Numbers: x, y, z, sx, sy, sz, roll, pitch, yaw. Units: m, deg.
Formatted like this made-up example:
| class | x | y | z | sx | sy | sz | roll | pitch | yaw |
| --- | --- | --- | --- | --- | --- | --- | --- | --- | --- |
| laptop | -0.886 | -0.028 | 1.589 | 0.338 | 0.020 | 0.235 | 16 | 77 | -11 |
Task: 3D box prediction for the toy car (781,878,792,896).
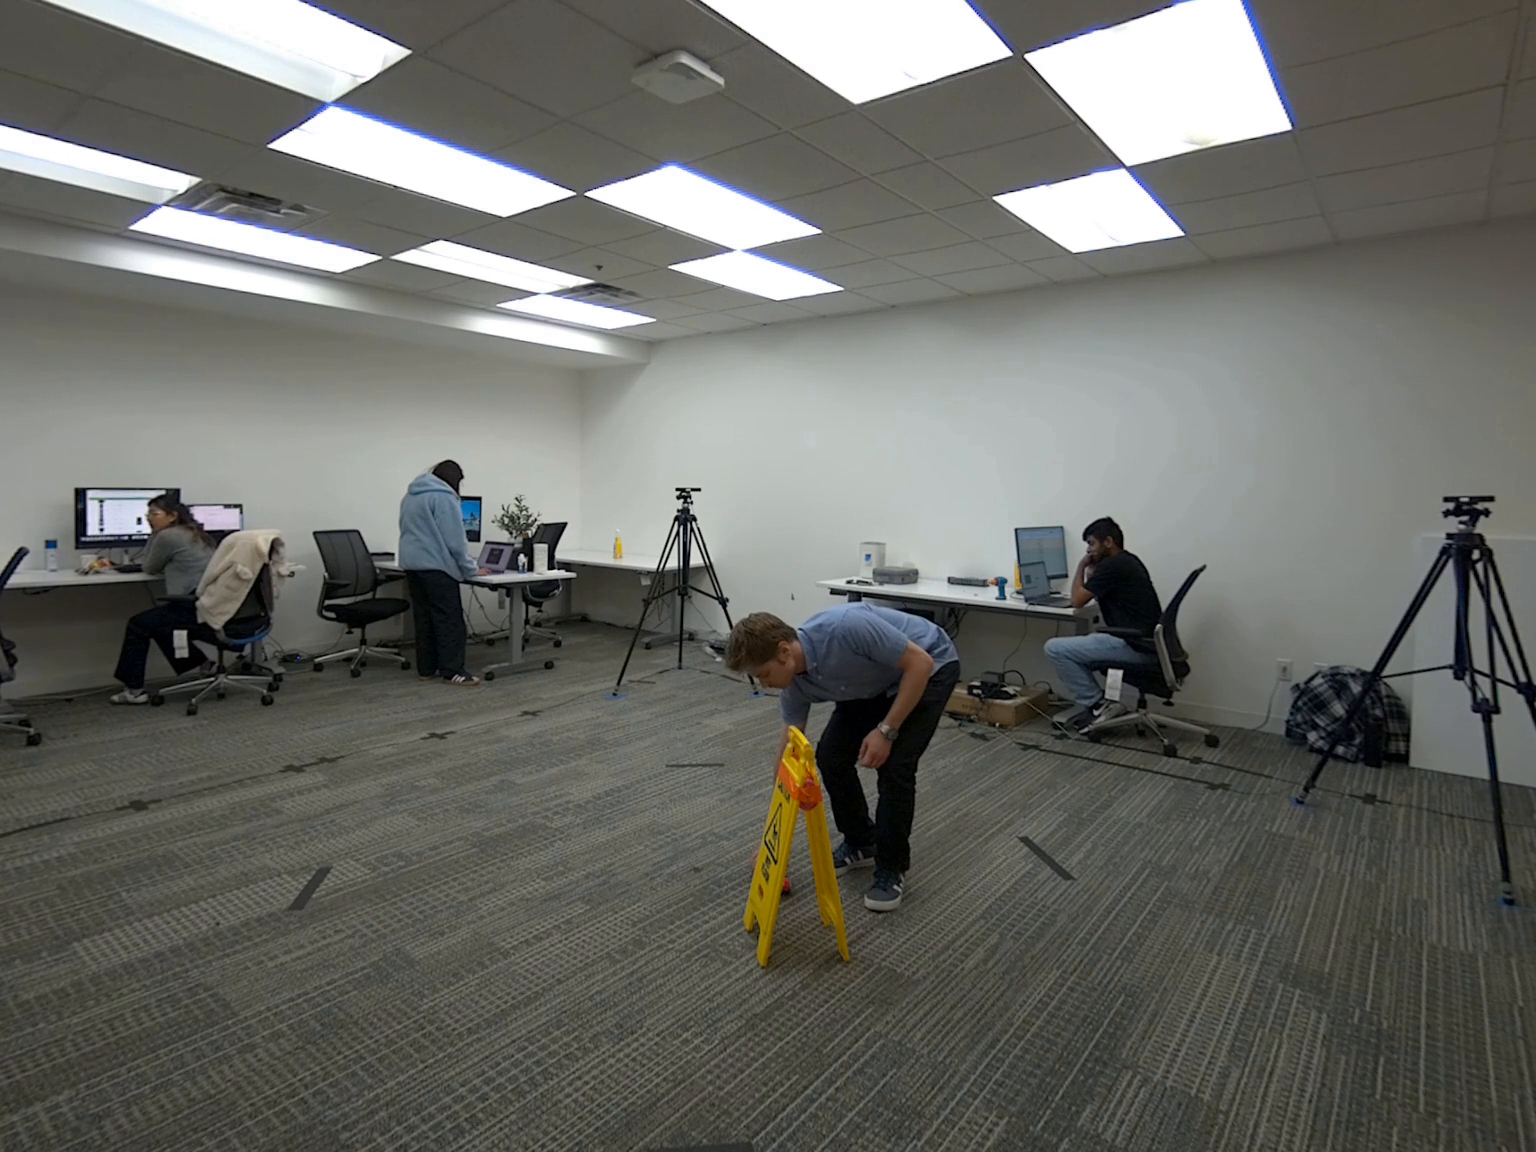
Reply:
| class | x | y | z | sx | sy | sz | roll | pitch | yaw |
| --- | --- | --- | --- | --- | --- | --- | --- | --- | --- |
| toy car | 0.027 | 1.040 | 3.033 | 0.130 | 0.082 | 0.259 | 1 | 16 | -5 |
